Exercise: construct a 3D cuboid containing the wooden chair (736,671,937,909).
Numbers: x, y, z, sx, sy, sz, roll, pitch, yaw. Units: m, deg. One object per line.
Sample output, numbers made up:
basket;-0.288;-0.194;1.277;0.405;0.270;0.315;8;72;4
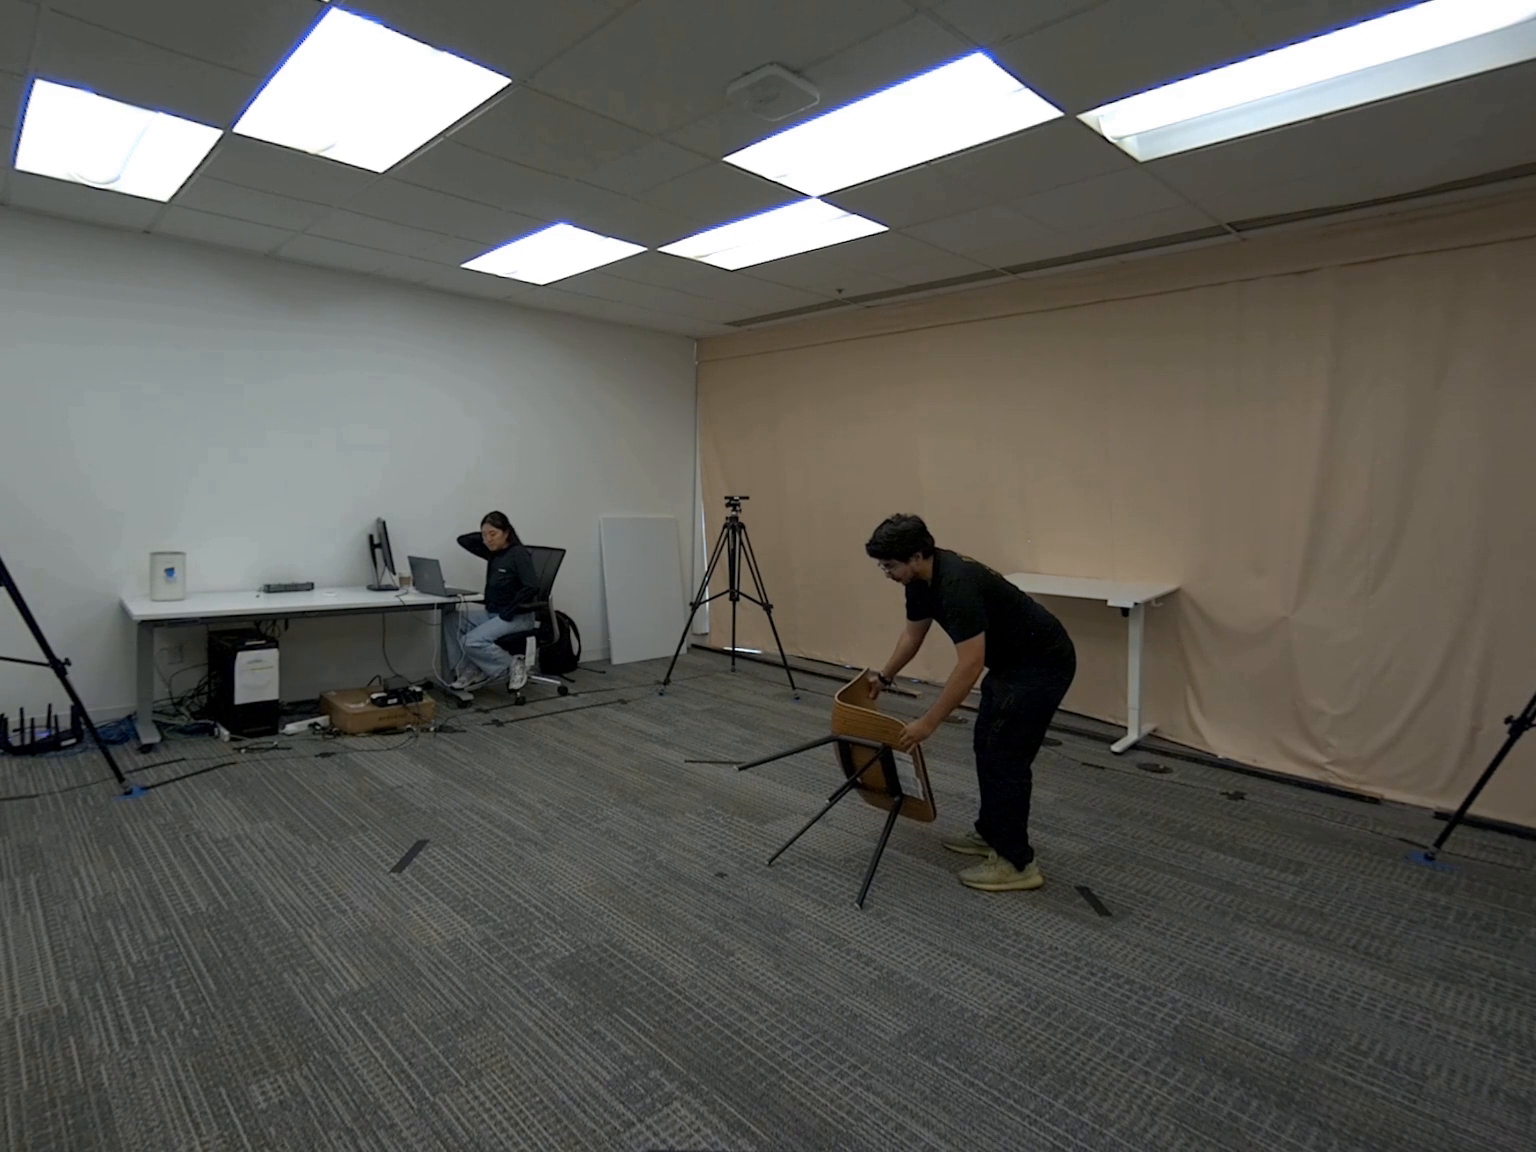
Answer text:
wooden chair;0.377;0.730;3.213;0.536;0.470;0.871;2;27;42
